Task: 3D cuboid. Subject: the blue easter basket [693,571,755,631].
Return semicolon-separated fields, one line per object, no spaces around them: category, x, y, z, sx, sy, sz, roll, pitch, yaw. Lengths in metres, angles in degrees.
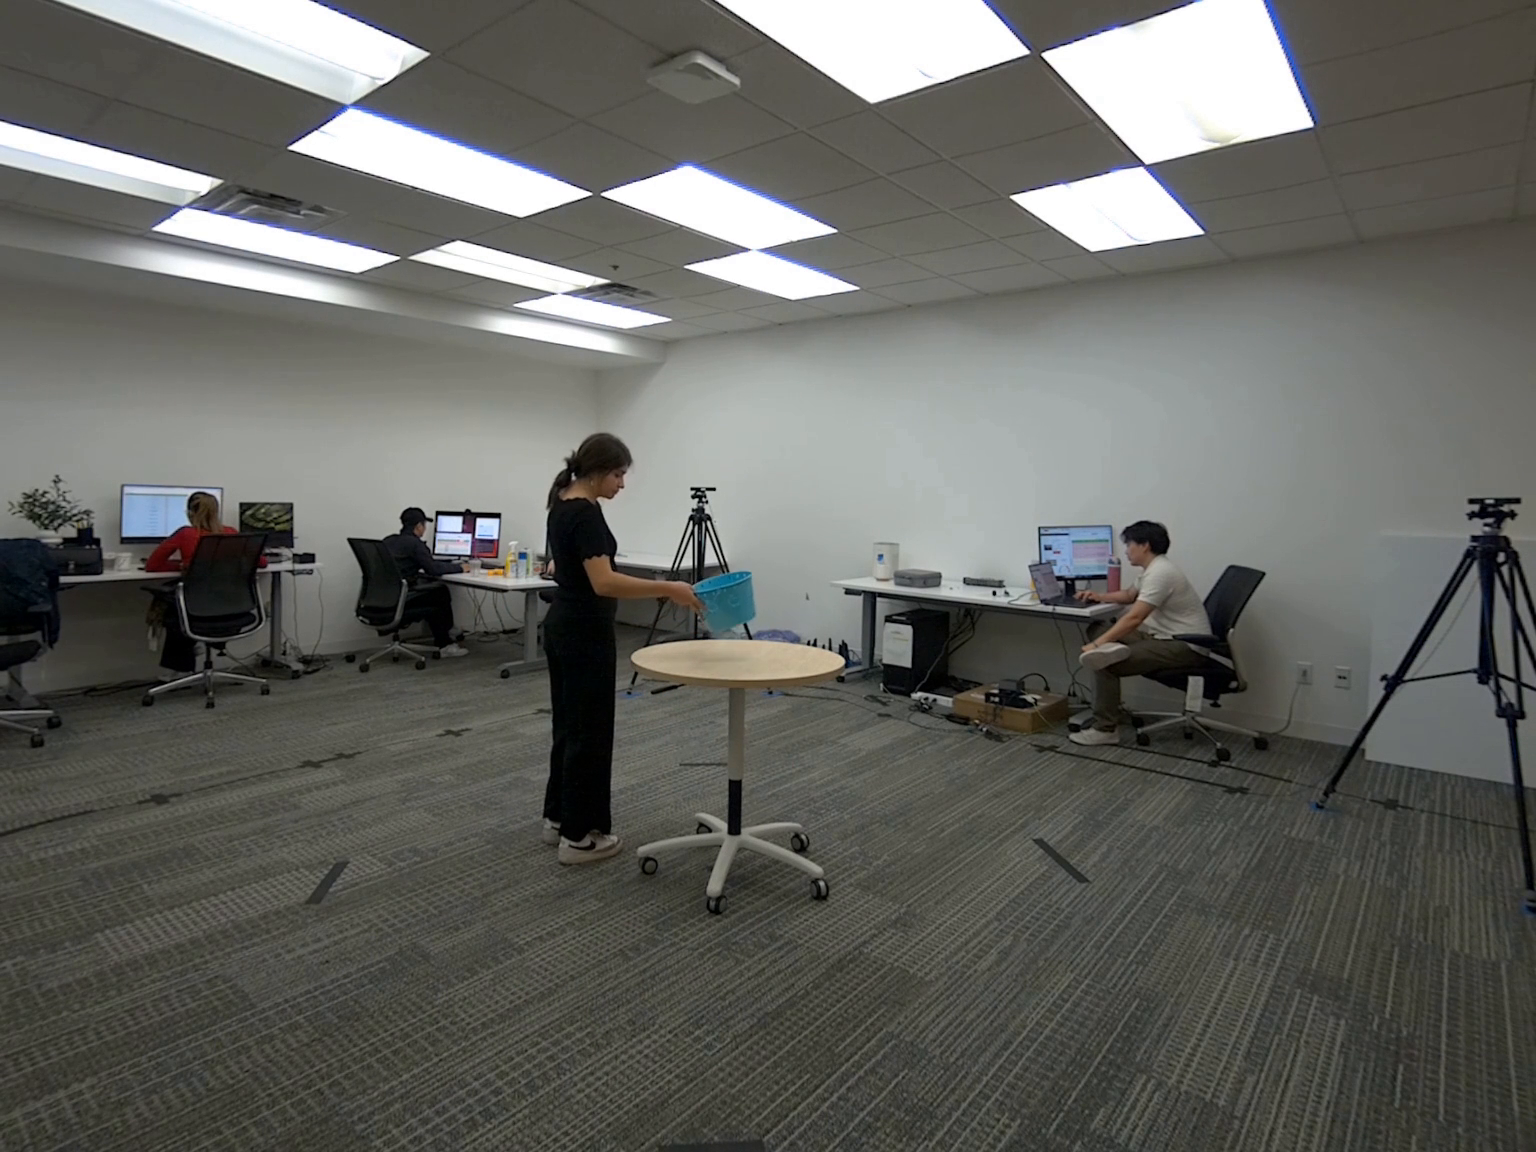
blue easter basket;-0.177;0.089;3.020;0.244;0.154;0.246;-14;10;0
